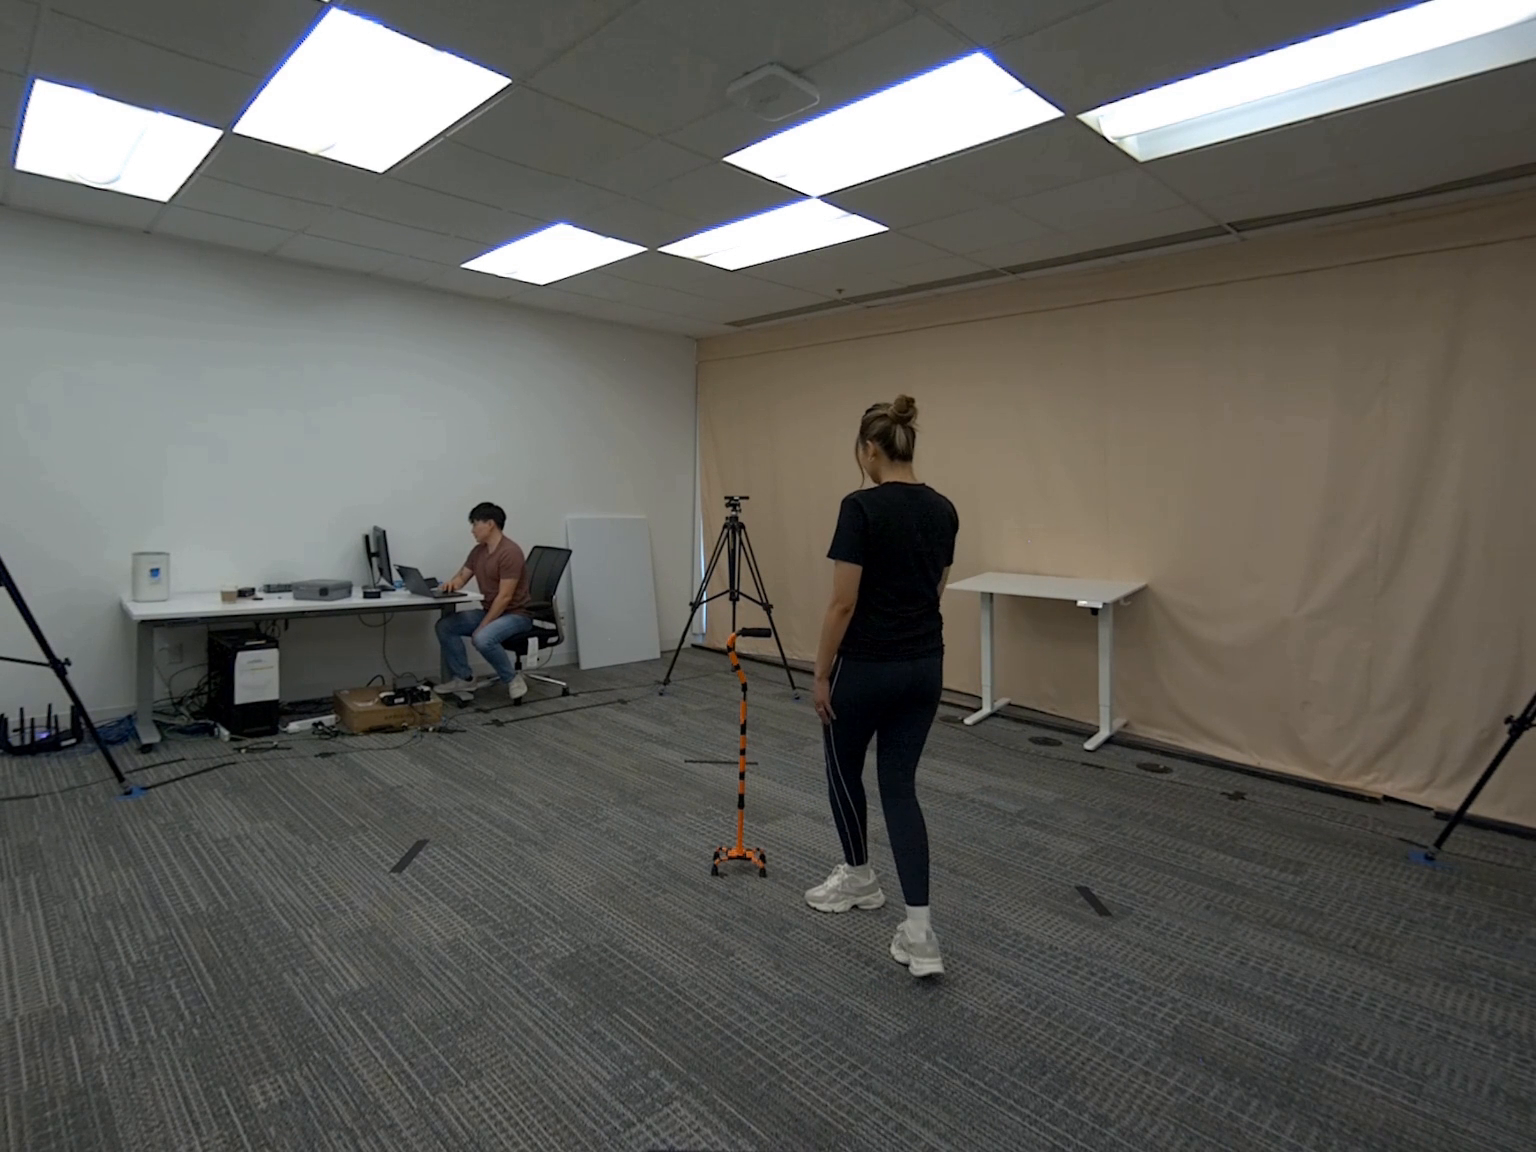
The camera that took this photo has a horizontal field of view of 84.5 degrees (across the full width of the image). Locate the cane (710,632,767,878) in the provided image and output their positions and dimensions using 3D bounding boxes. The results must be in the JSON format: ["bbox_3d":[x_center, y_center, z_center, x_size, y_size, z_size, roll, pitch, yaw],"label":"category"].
[{"bbox_3d":[-0.106,0.647,3.139,0.206,0.906,0.152,1,3,0],"label":"cane"}]
